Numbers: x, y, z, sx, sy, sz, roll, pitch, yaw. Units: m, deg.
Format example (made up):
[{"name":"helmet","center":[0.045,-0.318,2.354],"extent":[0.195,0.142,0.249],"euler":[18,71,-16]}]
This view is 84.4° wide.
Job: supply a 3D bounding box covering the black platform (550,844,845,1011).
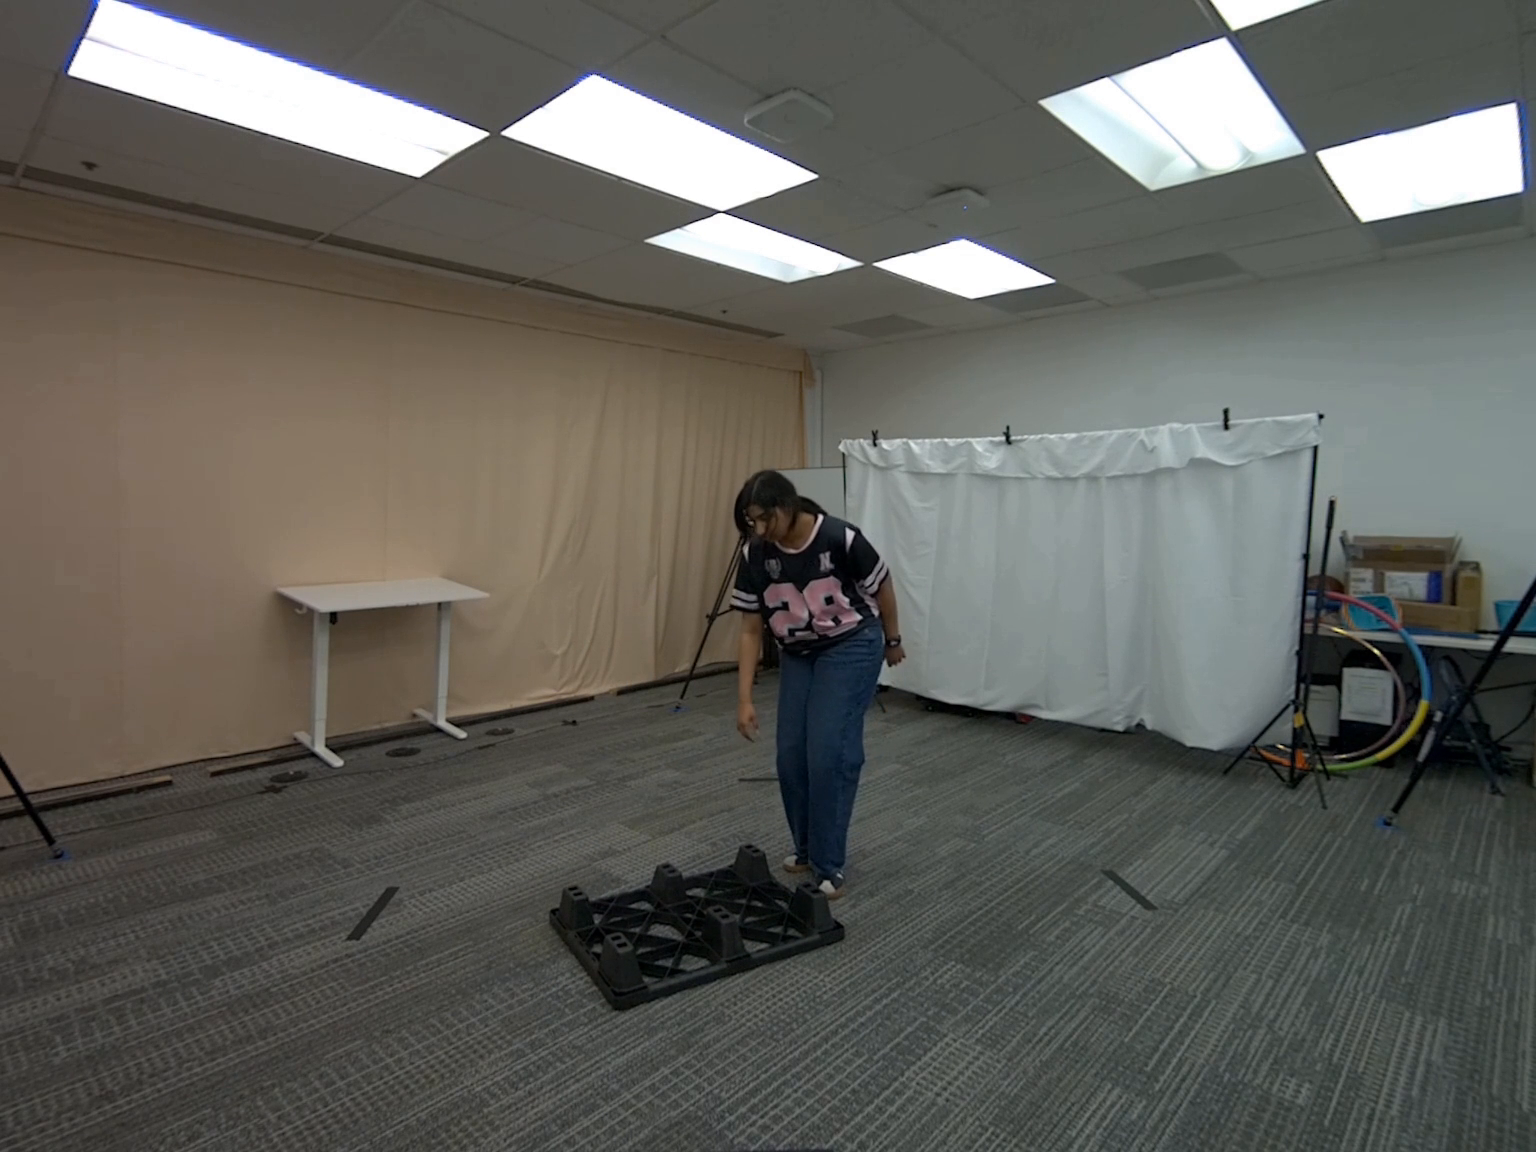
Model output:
[{"name":"black platform","center":[-0.241,1.098,2.766],"extent":[0.784,0.143,0.623],"euler":[-3,6,-31]}]
